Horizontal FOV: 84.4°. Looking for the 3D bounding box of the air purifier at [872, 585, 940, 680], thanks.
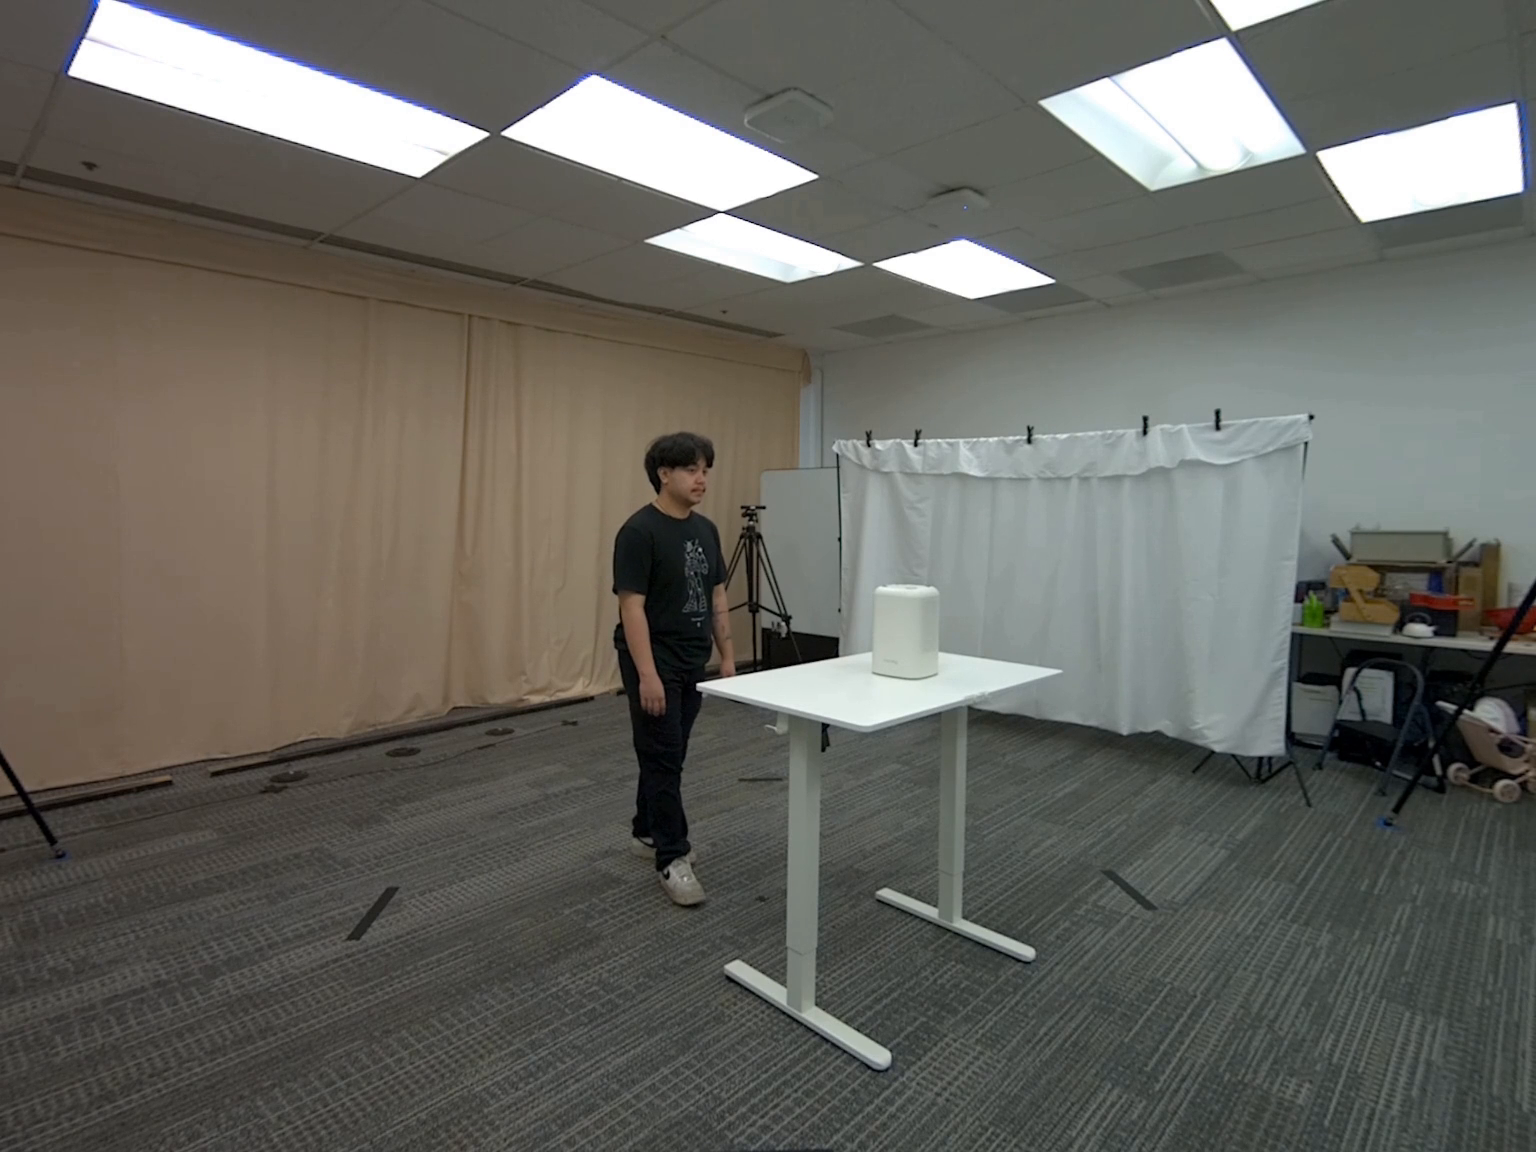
[{"bbox_3d":[0.423,0.164,2.541,0.177,0.265,0.166,4,5,41],"label":"air purifier"}]
